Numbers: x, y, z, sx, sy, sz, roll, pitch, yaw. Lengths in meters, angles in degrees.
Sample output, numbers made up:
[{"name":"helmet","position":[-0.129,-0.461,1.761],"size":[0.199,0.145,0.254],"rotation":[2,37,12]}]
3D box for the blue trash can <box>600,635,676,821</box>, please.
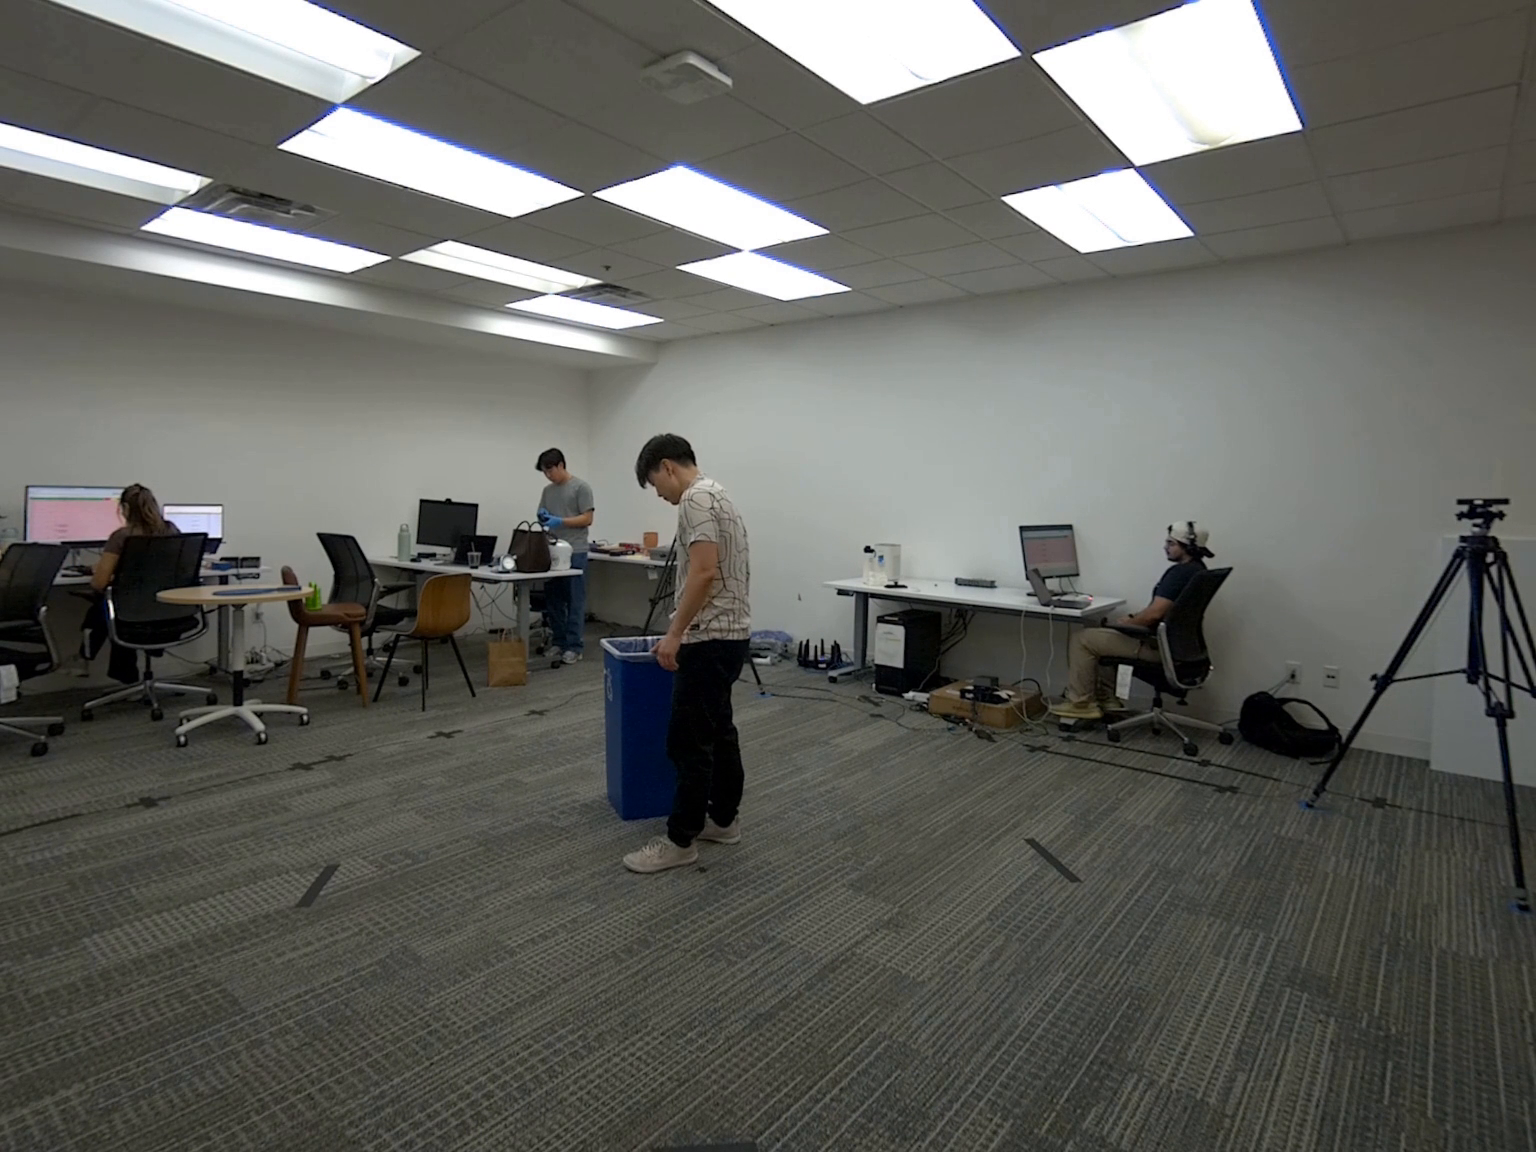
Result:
[{"name":"blue trash can","position":[-0.530,0.648,3.715],"size":[0.370,0.711,0.383],"rotation":[-1,4,-22]}]
